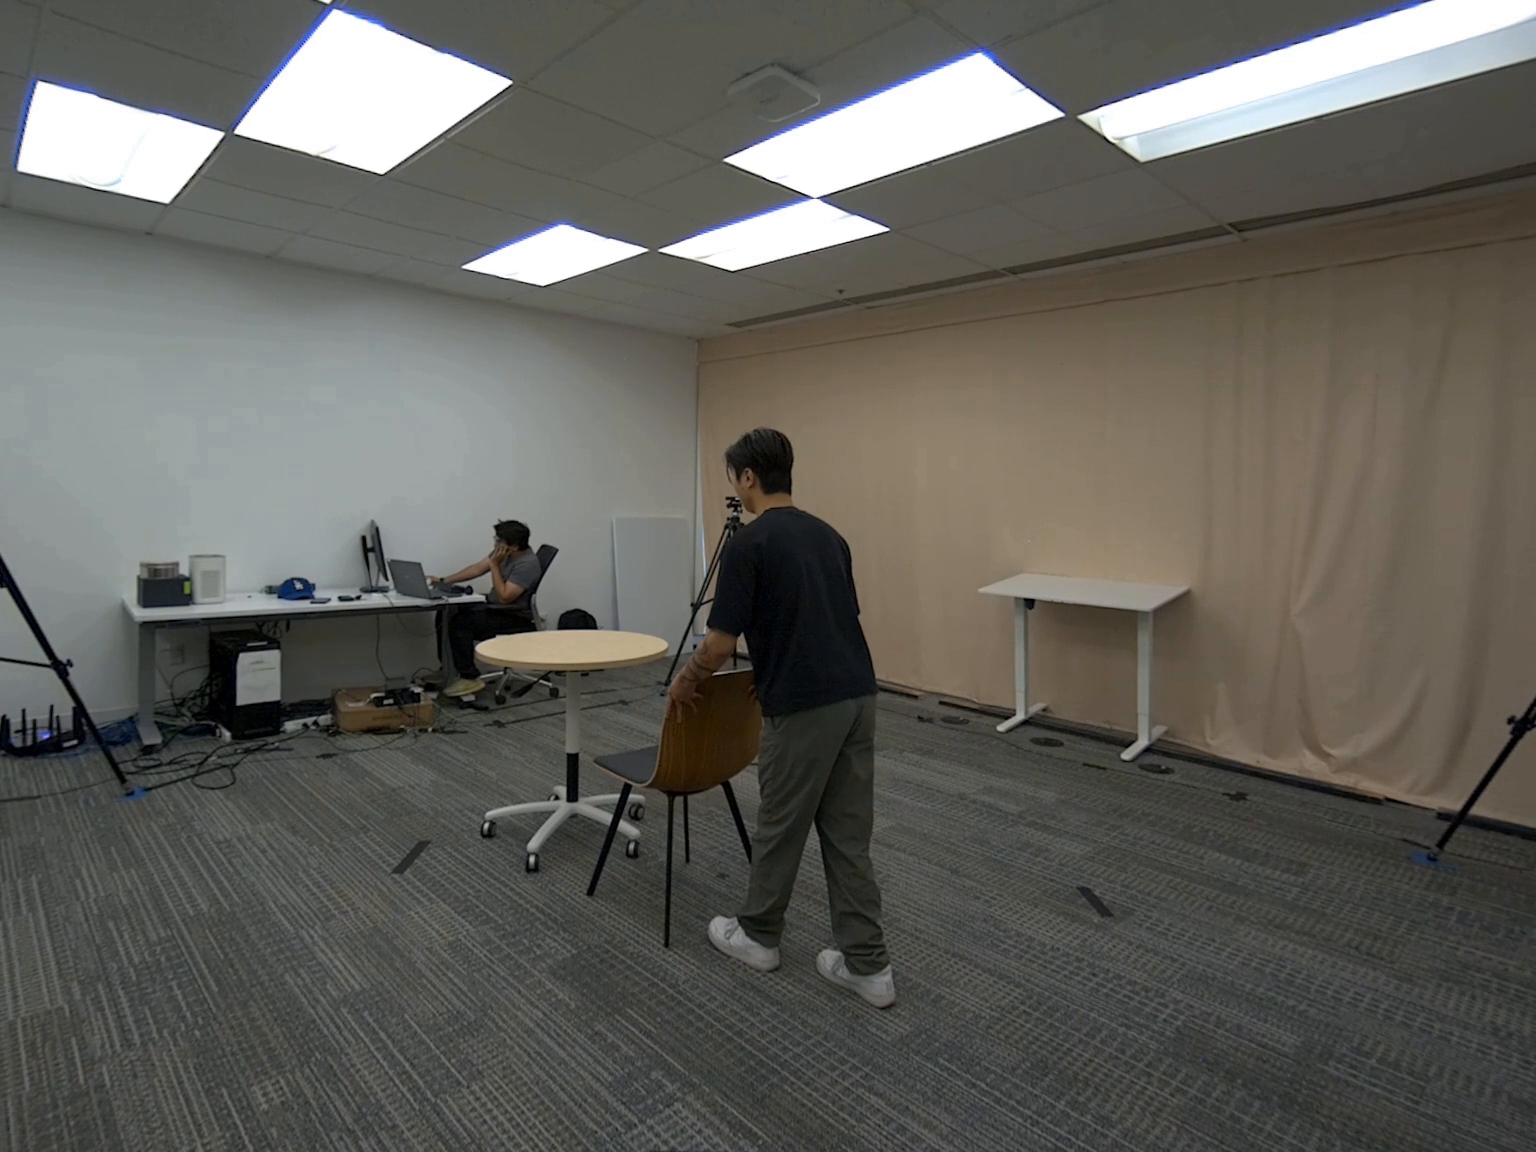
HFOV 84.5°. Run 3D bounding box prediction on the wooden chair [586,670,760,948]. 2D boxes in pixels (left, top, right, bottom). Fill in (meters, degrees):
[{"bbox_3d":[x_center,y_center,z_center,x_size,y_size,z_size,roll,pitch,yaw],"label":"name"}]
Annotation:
[{"bbox_3d":[-0.314,0.694,2.884,0.467,0.873,0.537,-2,9,-43],"label":"wooden chair"}]
